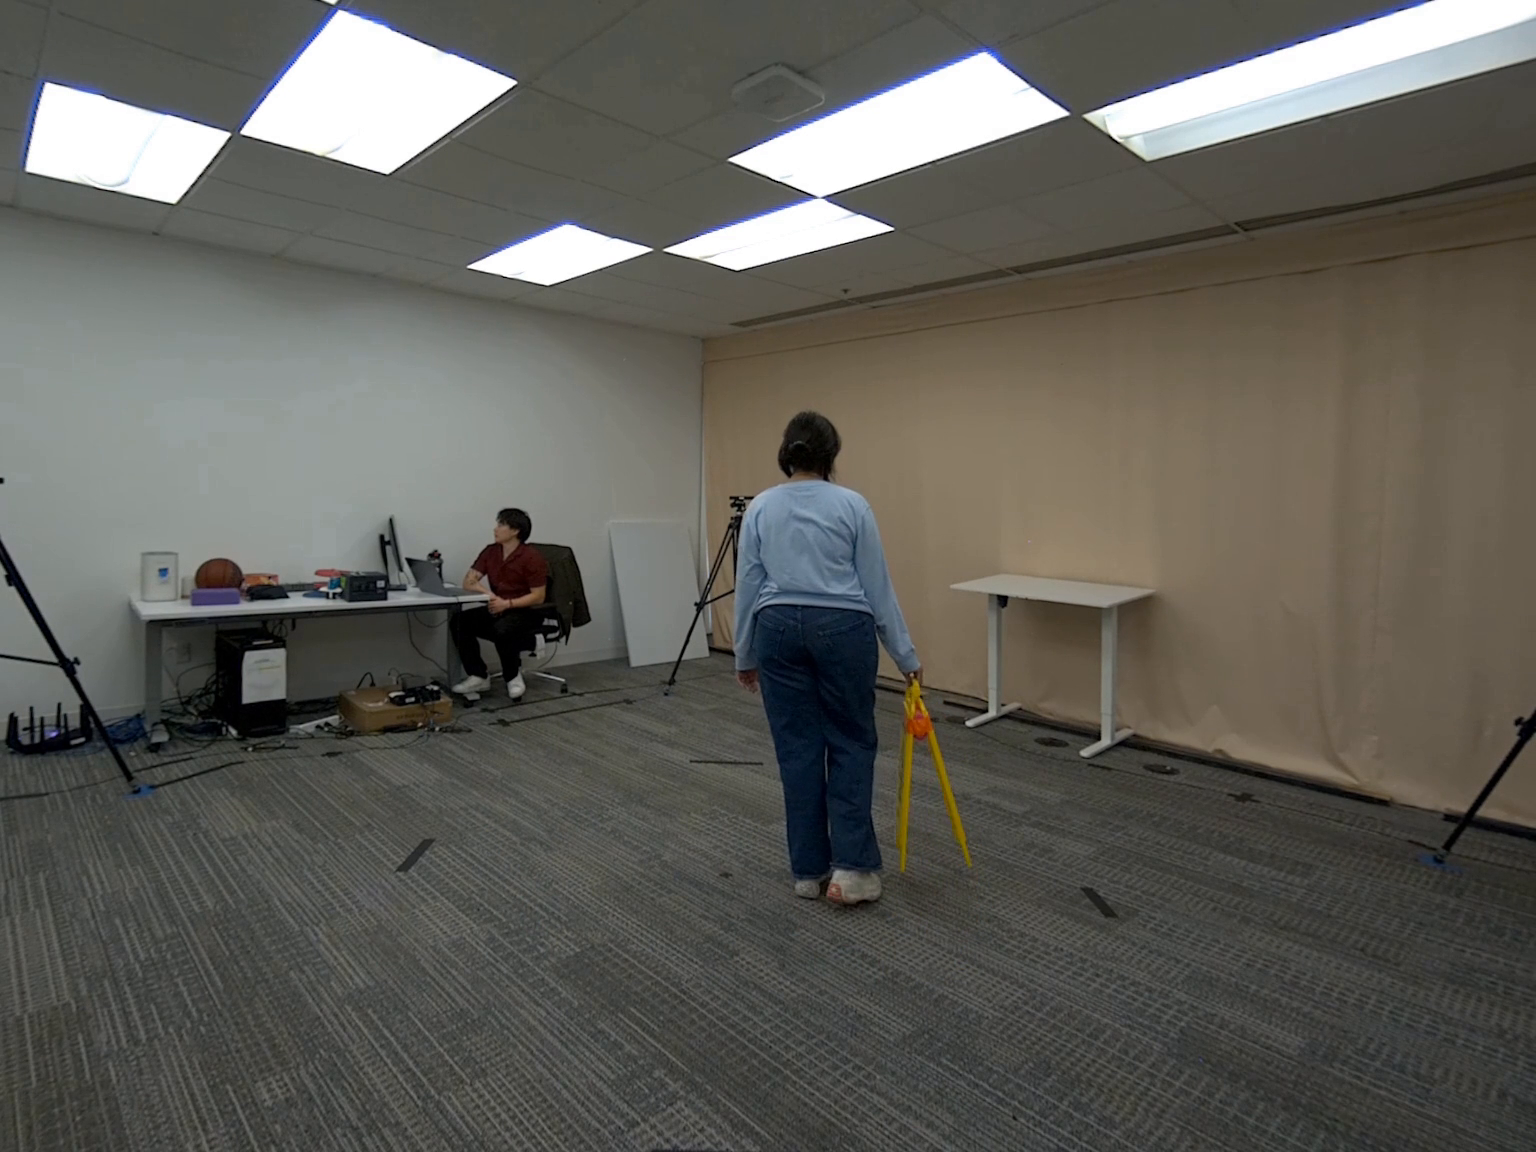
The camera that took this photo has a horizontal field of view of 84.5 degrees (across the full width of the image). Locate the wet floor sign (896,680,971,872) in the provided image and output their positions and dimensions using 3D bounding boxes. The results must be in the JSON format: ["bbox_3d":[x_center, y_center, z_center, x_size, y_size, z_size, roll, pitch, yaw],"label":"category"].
[{"bbox_3d":[0.550,0.690,3.031,0.291,0.643,0.282,-5,5,7],"label":"wet floor sign"}]
